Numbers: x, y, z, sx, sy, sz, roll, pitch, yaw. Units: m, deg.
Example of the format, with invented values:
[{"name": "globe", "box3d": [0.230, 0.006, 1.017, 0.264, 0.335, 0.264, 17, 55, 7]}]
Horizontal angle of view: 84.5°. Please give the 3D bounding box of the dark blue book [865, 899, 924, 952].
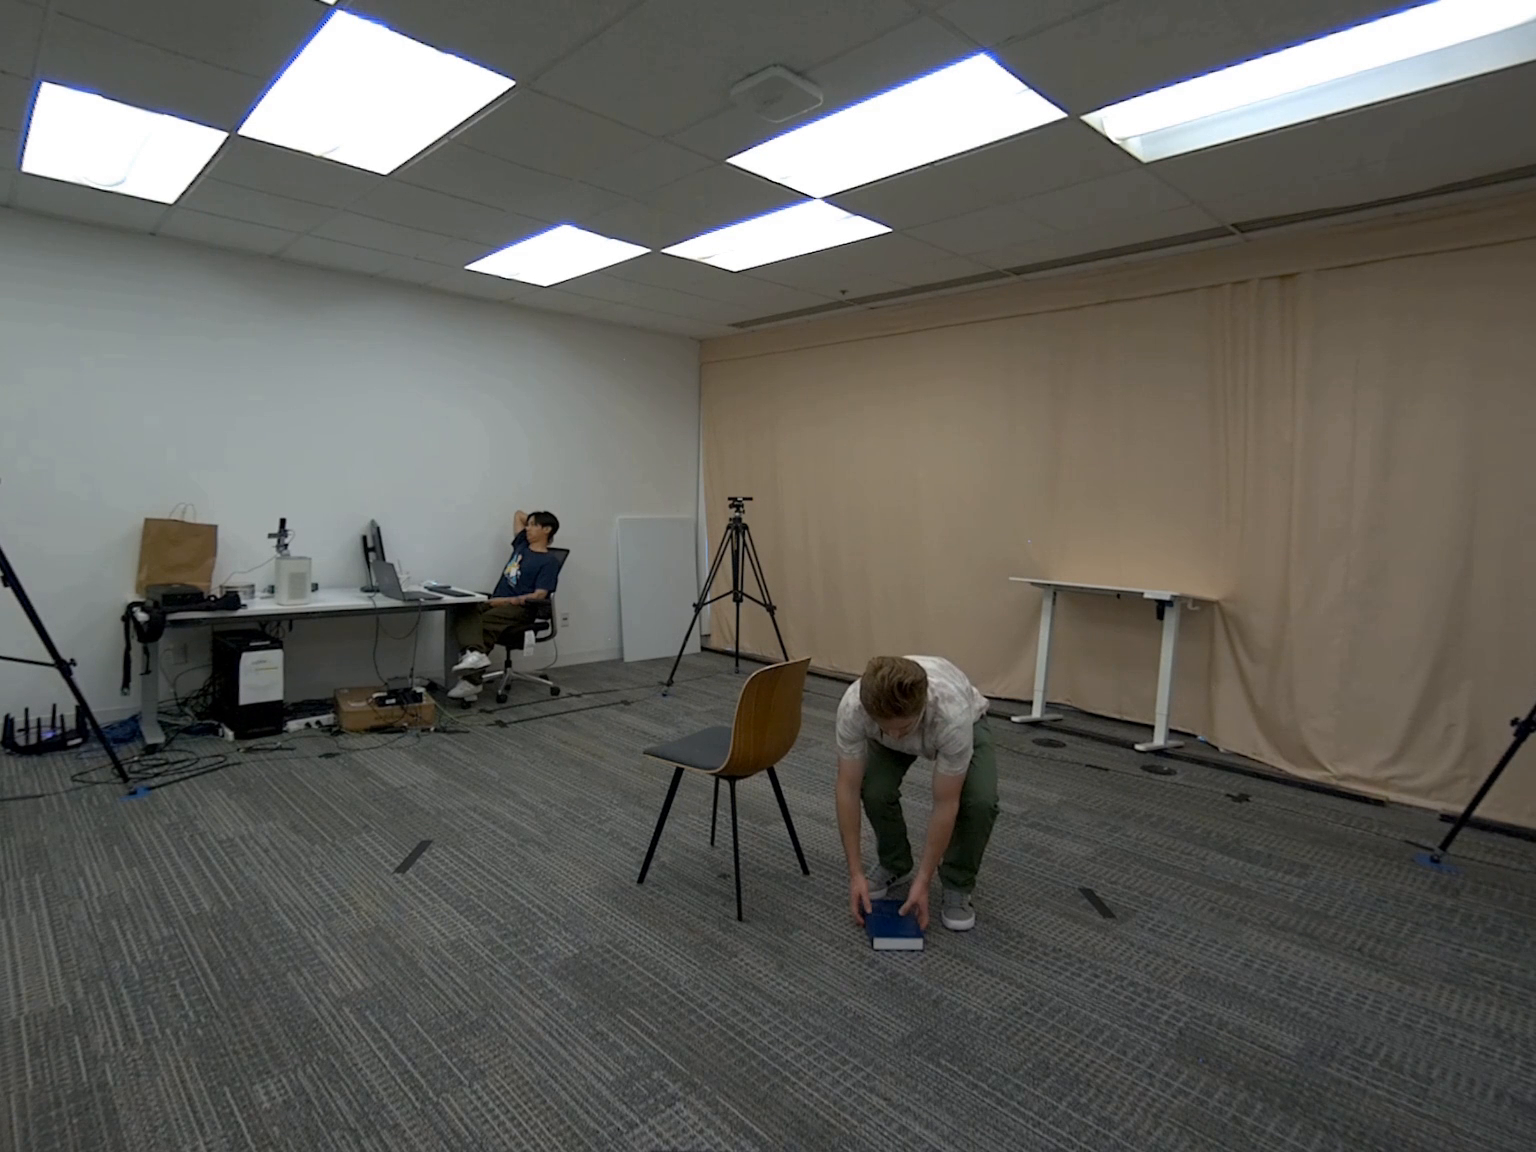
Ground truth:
[{"name": "dark blue book", "box3d": [0.392, 1.132, 2.729, 0.163, 0.045, 0.246, 0, 5, -3]}]
